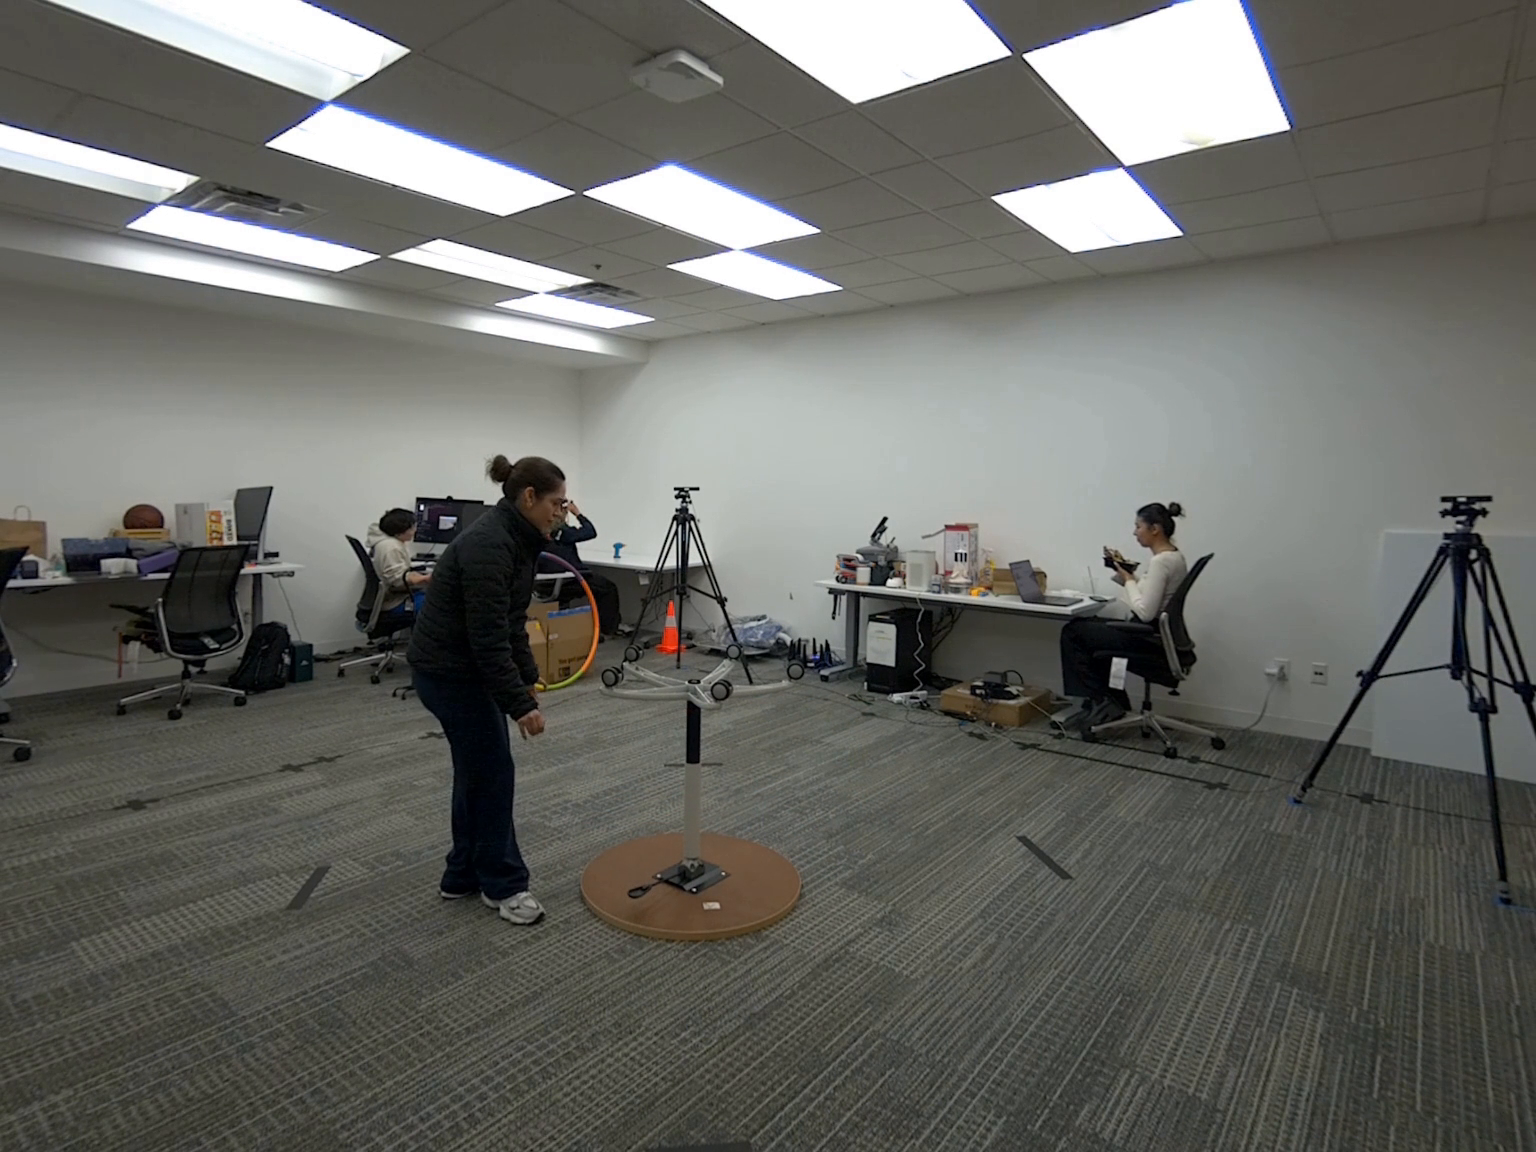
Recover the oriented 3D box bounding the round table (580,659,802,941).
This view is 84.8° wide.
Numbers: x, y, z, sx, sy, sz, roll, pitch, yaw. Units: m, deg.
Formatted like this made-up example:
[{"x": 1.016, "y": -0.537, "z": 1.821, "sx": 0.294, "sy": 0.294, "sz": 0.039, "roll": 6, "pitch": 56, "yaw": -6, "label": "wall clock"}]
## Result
[{"x": -0.253, "y": 0.680, "z": 2.969, "sx": 0.784, "sy": 0.784, "sz": 0.788, "roll": 1, "pitch": 4, "yaw": -2, "label": "round table"}]
